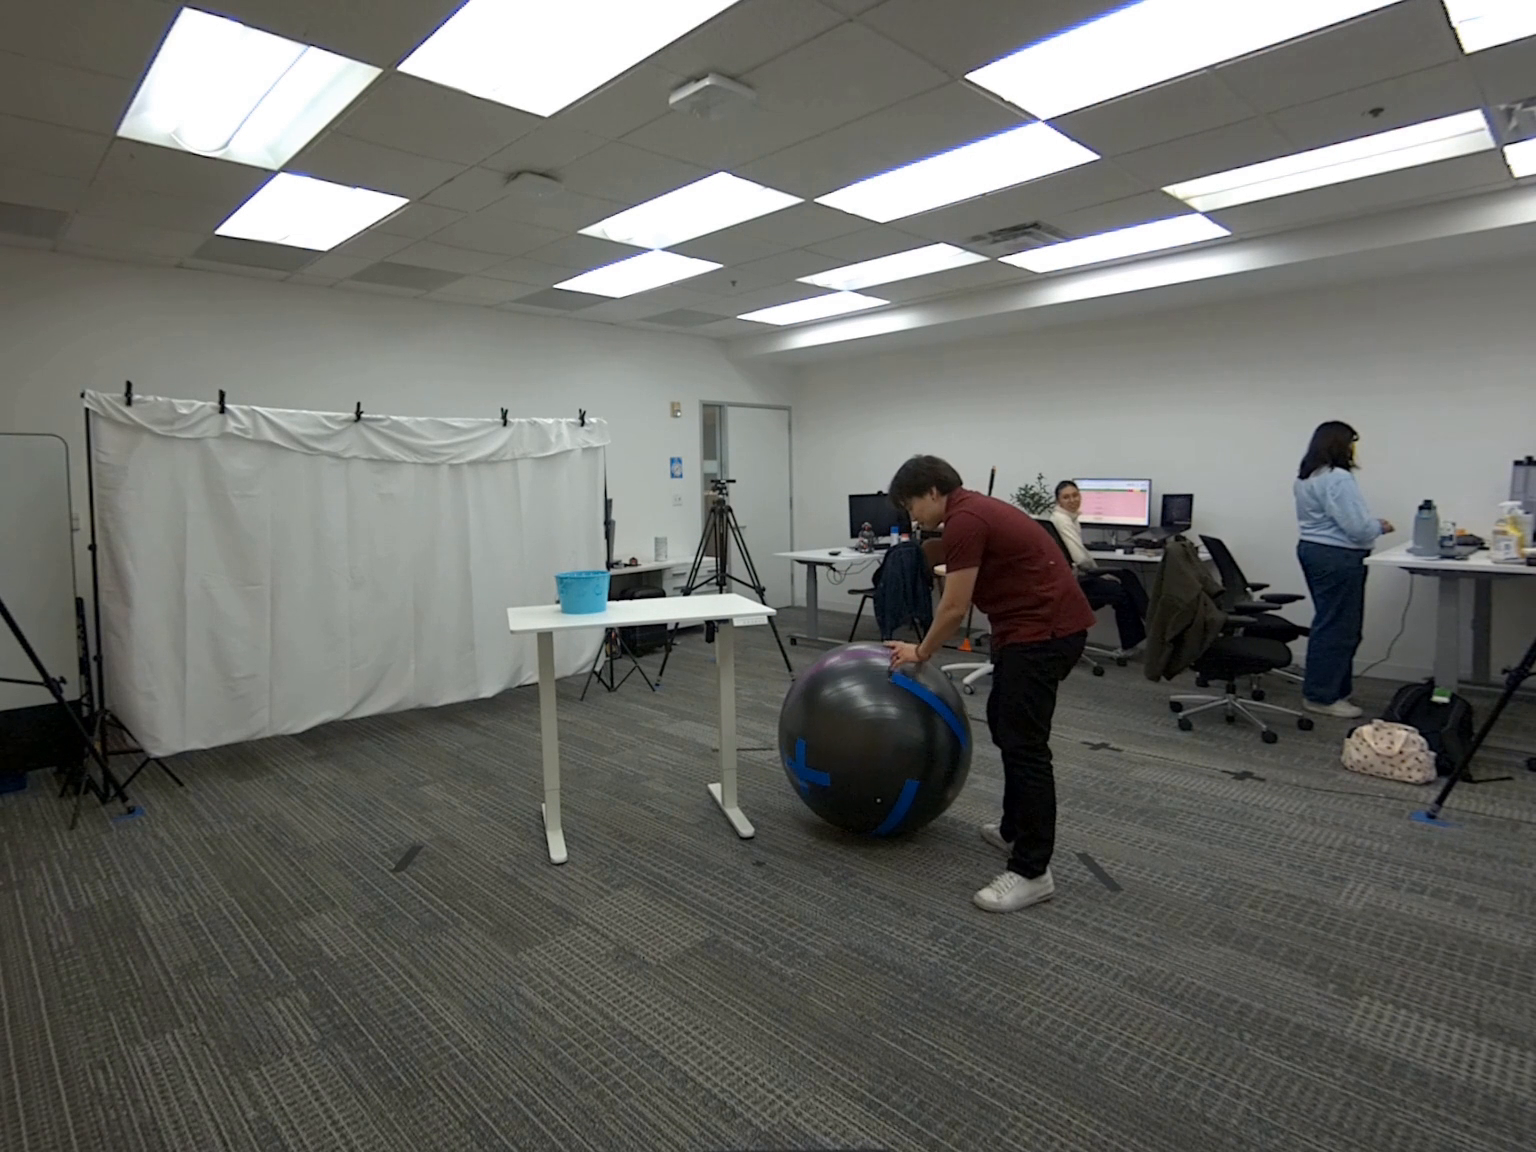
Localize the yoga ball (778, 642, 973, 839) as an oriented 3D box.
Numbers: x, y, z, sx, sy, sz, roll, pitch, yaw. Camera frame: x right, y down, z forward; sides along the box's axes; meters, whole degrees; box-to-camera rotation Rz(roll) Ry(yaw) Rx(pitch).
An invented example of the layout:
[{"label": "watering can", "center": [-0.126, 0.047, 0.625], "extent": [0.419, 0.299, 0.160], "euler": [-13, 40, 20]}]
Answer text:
[{"label": "yoga ball", "center": [0.431, 0.648, 3.410], "extent": [0.757, 0.755, 0.762], "euler": [-1, 5, -2]}]
